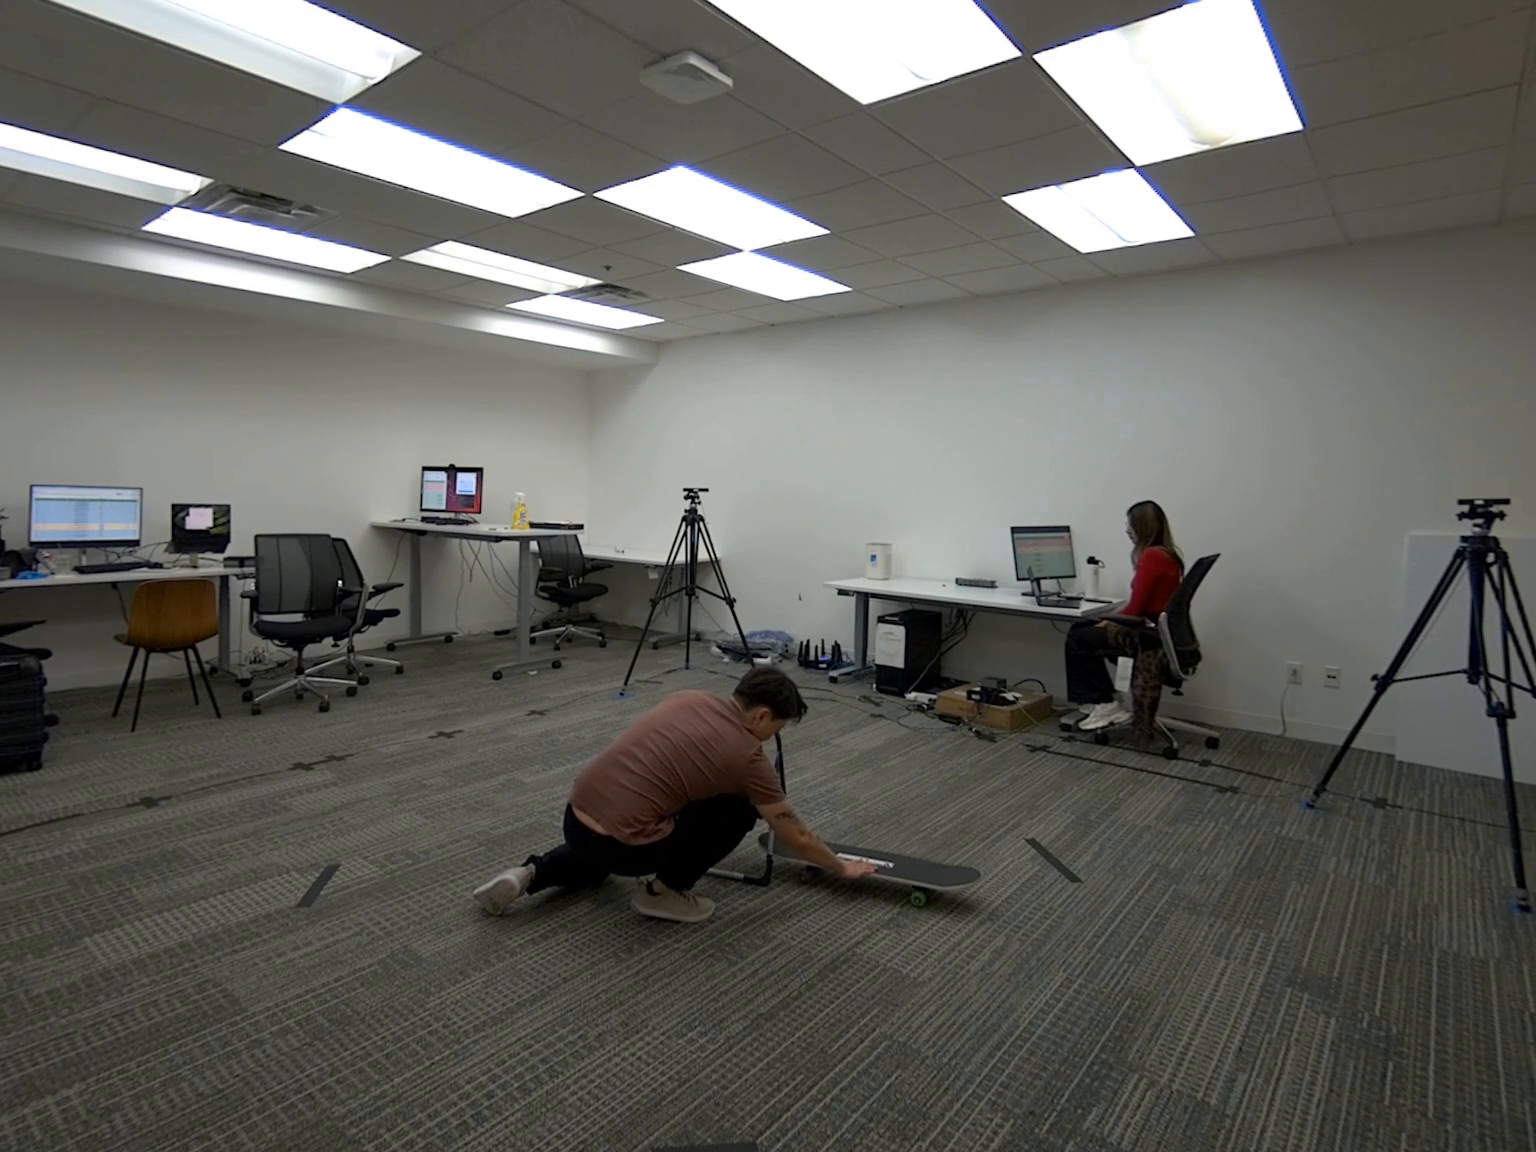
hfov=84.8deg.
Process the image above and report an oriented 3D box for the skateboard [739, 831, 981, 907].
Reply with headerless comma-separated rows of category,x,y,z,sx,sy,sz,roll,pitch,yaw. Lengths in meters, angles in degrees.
skateboard,0.332,1.036,3.012,0.803,0.110,0.190,4,6,20
